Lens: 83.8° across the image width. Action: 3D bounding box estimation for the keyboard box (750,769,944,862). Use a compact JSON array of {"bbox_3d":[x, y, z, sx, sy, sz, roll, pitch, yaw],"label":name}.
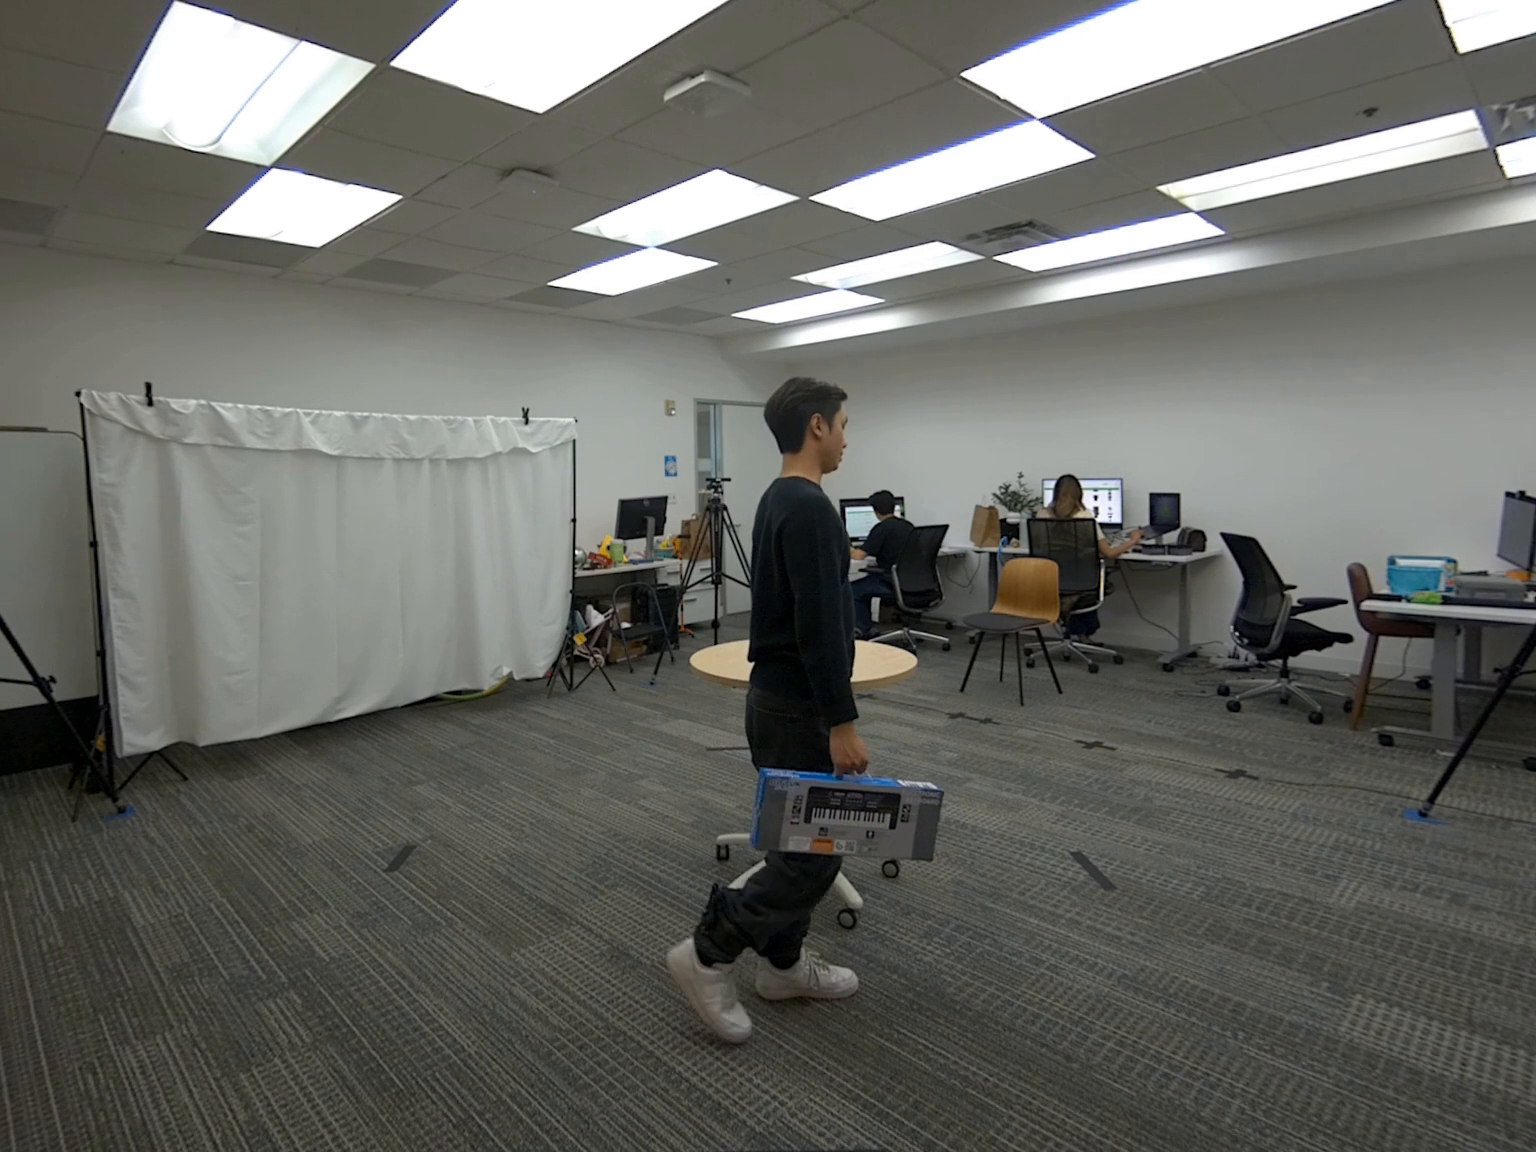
[{"bbox_3d":[0.190,0.558,1.984,0.431,0.175,0.060,9,3,-13],"label":"keyboard box"}]
